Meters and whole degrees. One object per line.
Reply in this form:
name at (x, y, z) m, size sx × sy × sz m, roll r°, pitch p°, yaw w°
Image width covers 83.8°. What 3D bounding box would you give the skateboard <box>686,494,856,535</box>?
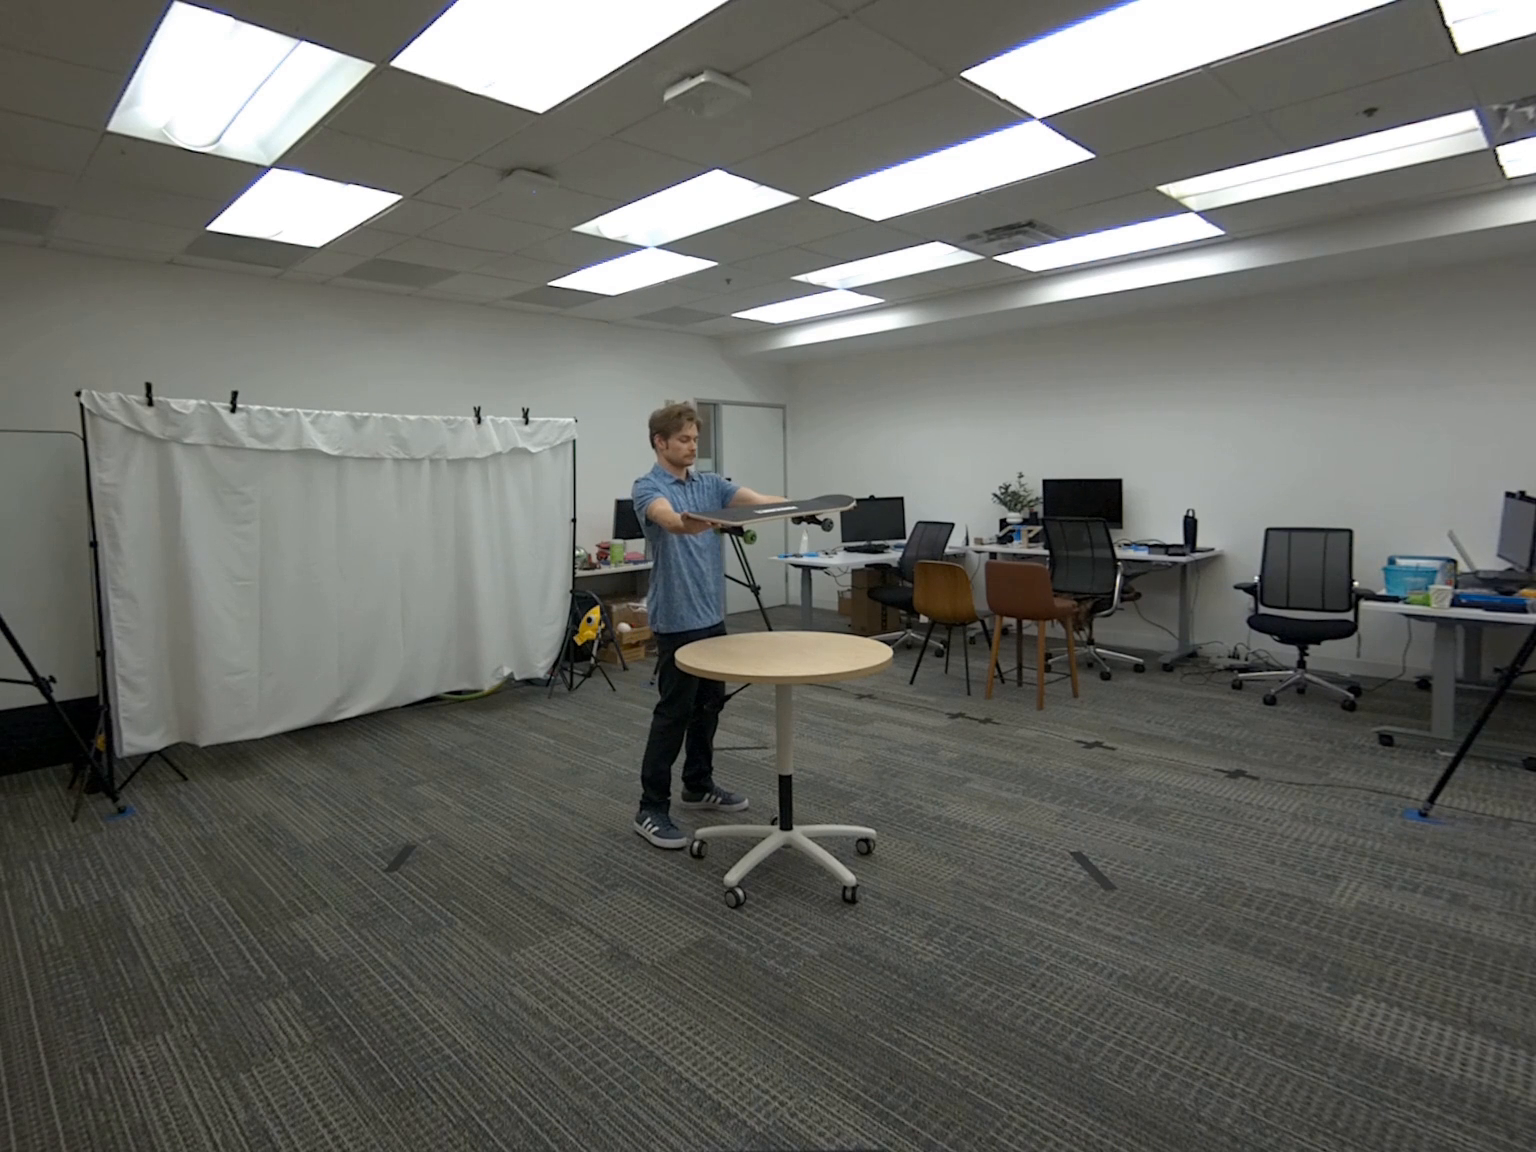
skateboard at (0.027, -0.205, 3.099) m, size 0.766 × 0.109 × 0.200 m, roll -10°, pitch 19°, yaw -41°
